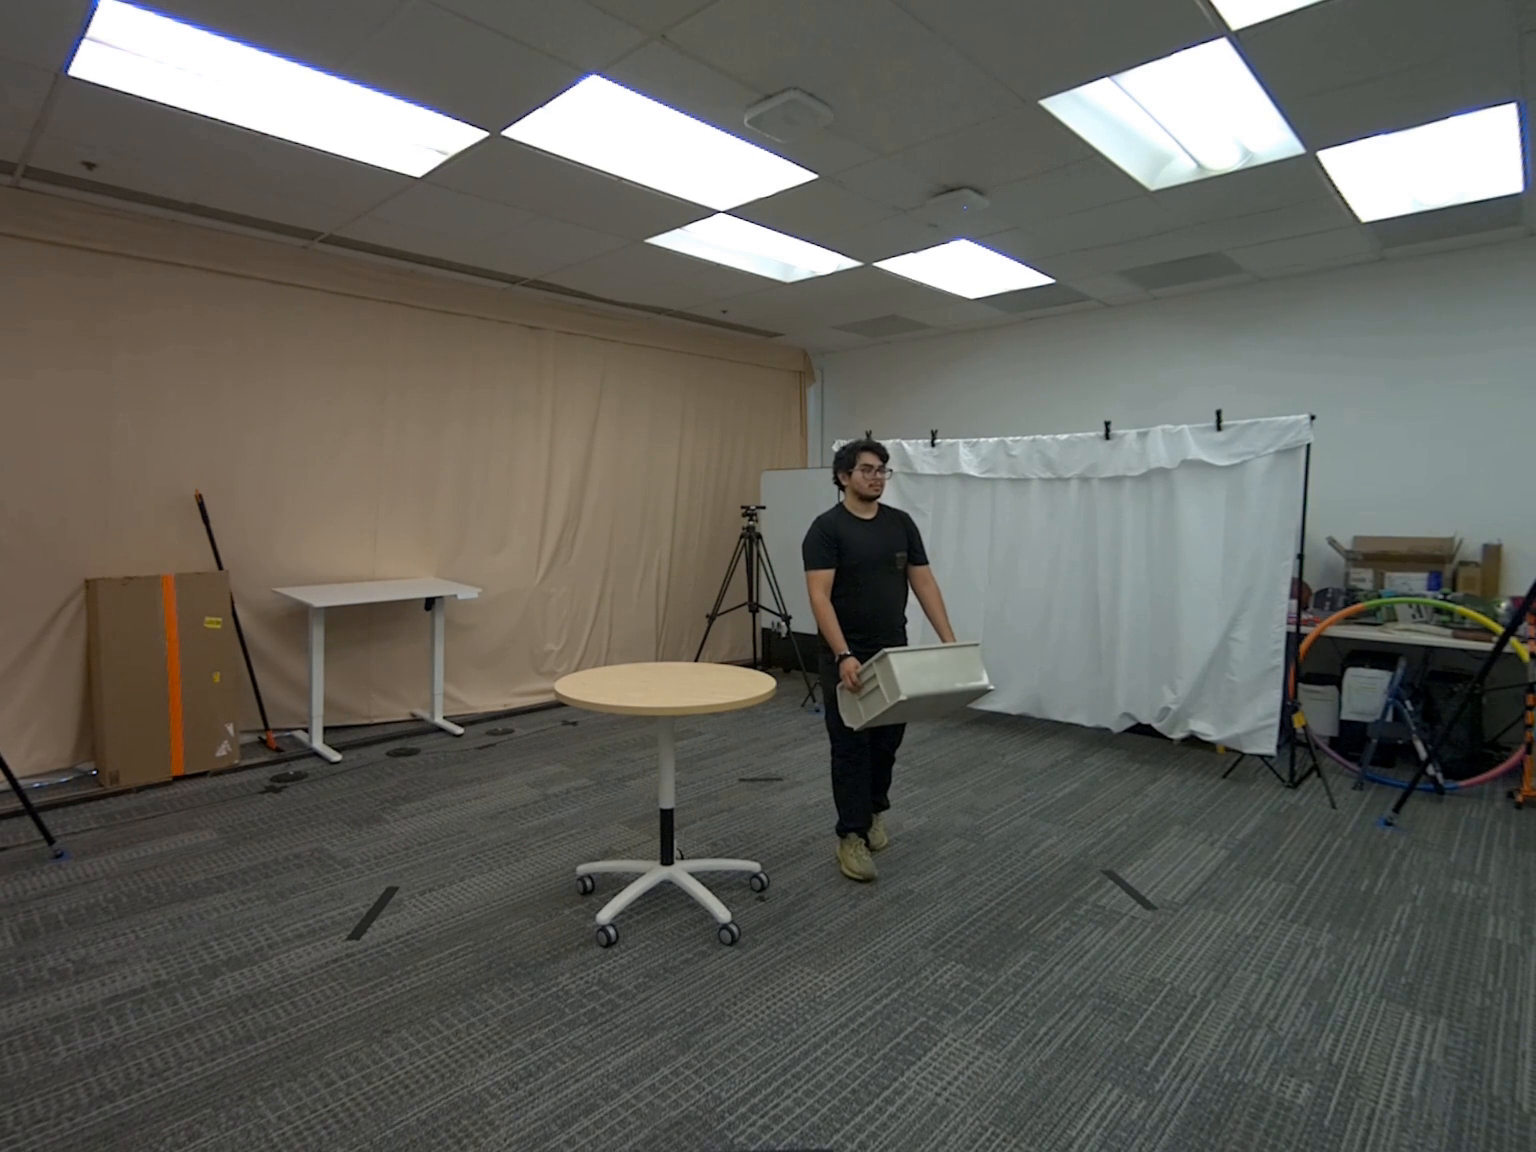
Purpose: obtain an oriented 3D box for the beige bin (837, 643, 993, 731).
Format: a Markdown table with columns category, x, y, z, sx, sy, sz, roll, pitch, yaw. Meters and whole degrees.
| category | x | y | z | sx | sy | sz | roll | pitch | yaw |
| --- | --- | --- | --- | --- | --- | --- | --- | --- | --- |
| beige bin | 0.528 | 0.405 | 3.033 | 0.412 | 0.193 | 0.379 | -1 | -27 | -27 |
